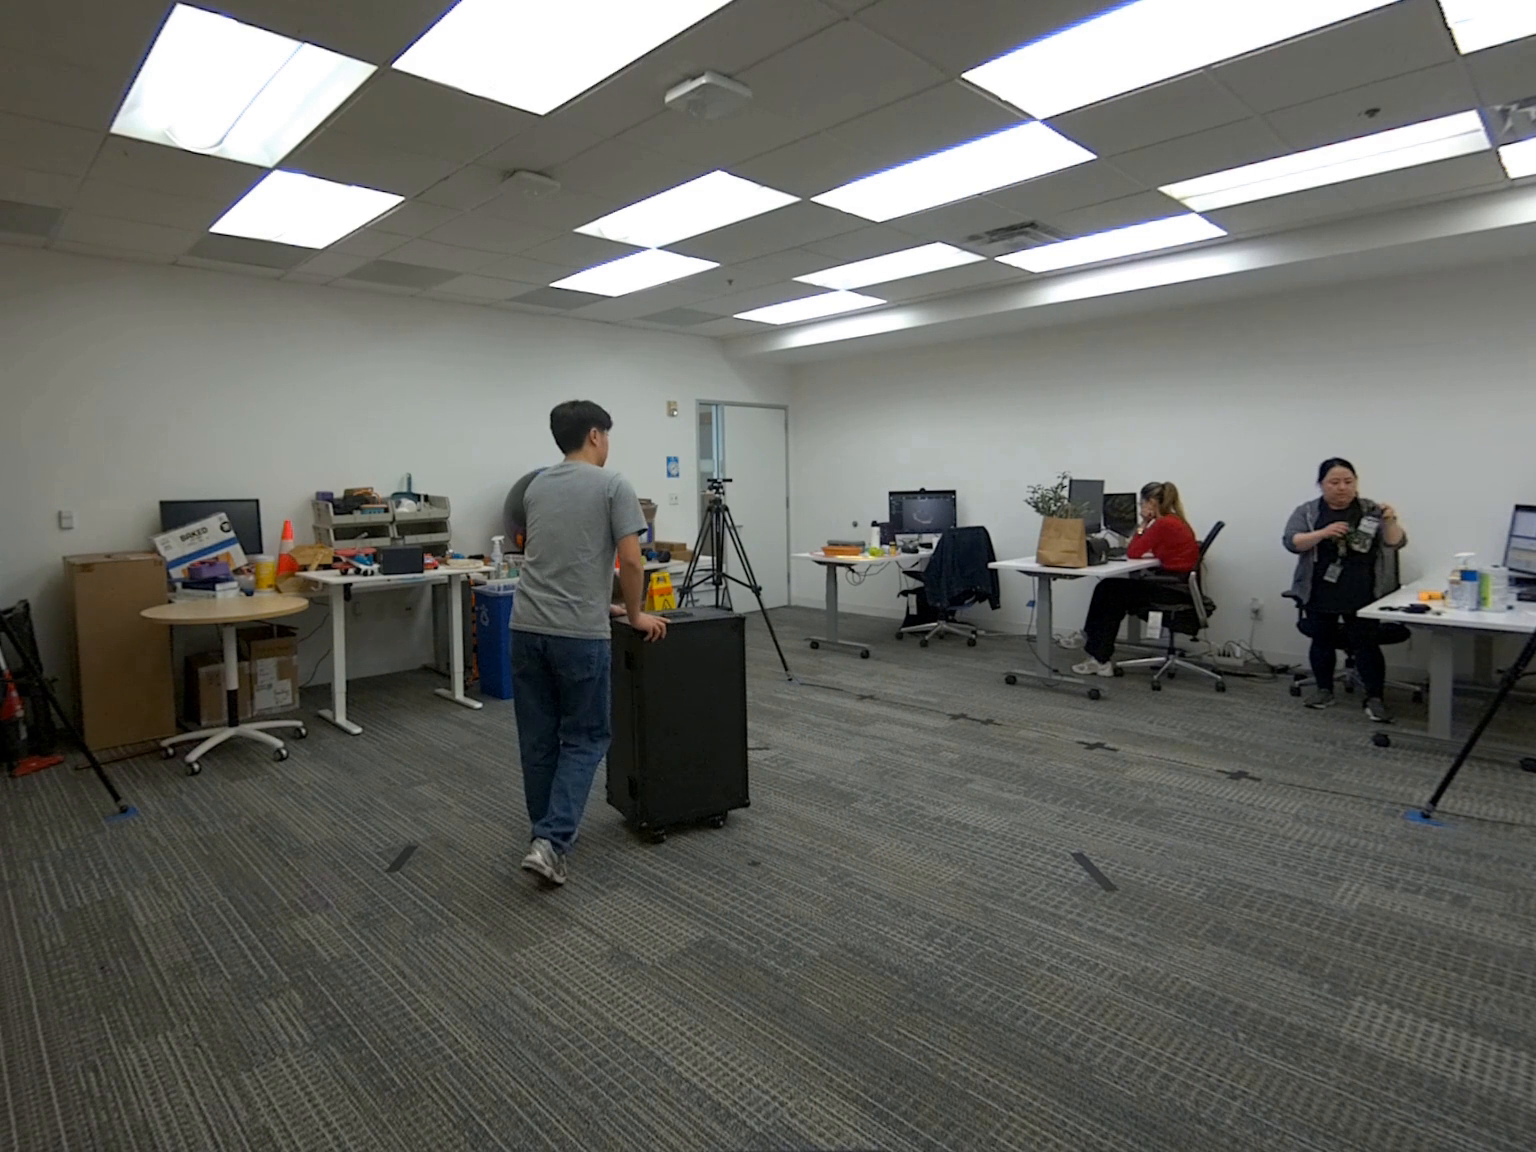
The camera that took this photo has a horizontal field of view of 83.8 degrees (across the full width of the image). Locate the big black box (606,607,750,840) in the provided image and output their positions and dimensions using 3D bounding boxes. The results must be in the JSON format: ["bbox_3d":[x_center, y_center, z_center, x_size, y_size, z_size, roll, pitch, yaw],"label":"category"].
[{"bbox_3d":[-0.387,0.585,3.490,0.509,0.860,0.406,-3,3,-30],"label":"big black box"}]
